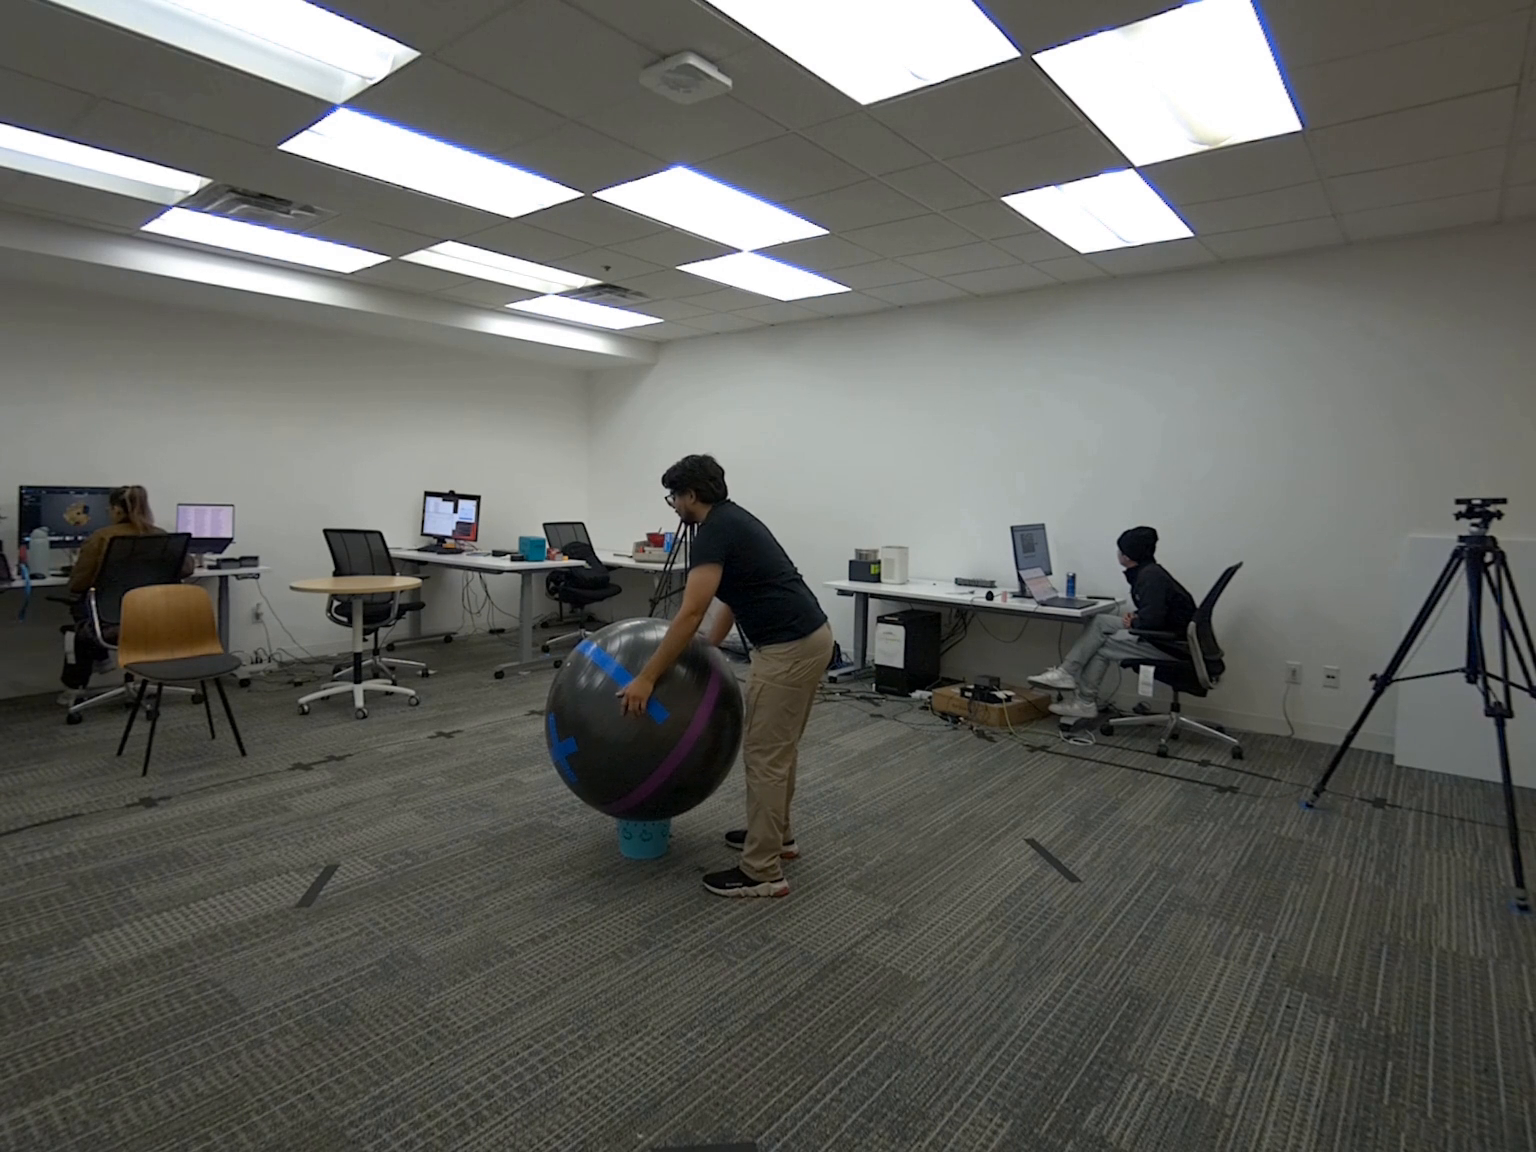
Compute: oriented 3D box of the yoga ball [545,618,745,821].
[{"bbox_3d":[-0.488,0.542,3.258,0.757,0.756,0.761,1,4,-2],"label":"yoga ball"}]
